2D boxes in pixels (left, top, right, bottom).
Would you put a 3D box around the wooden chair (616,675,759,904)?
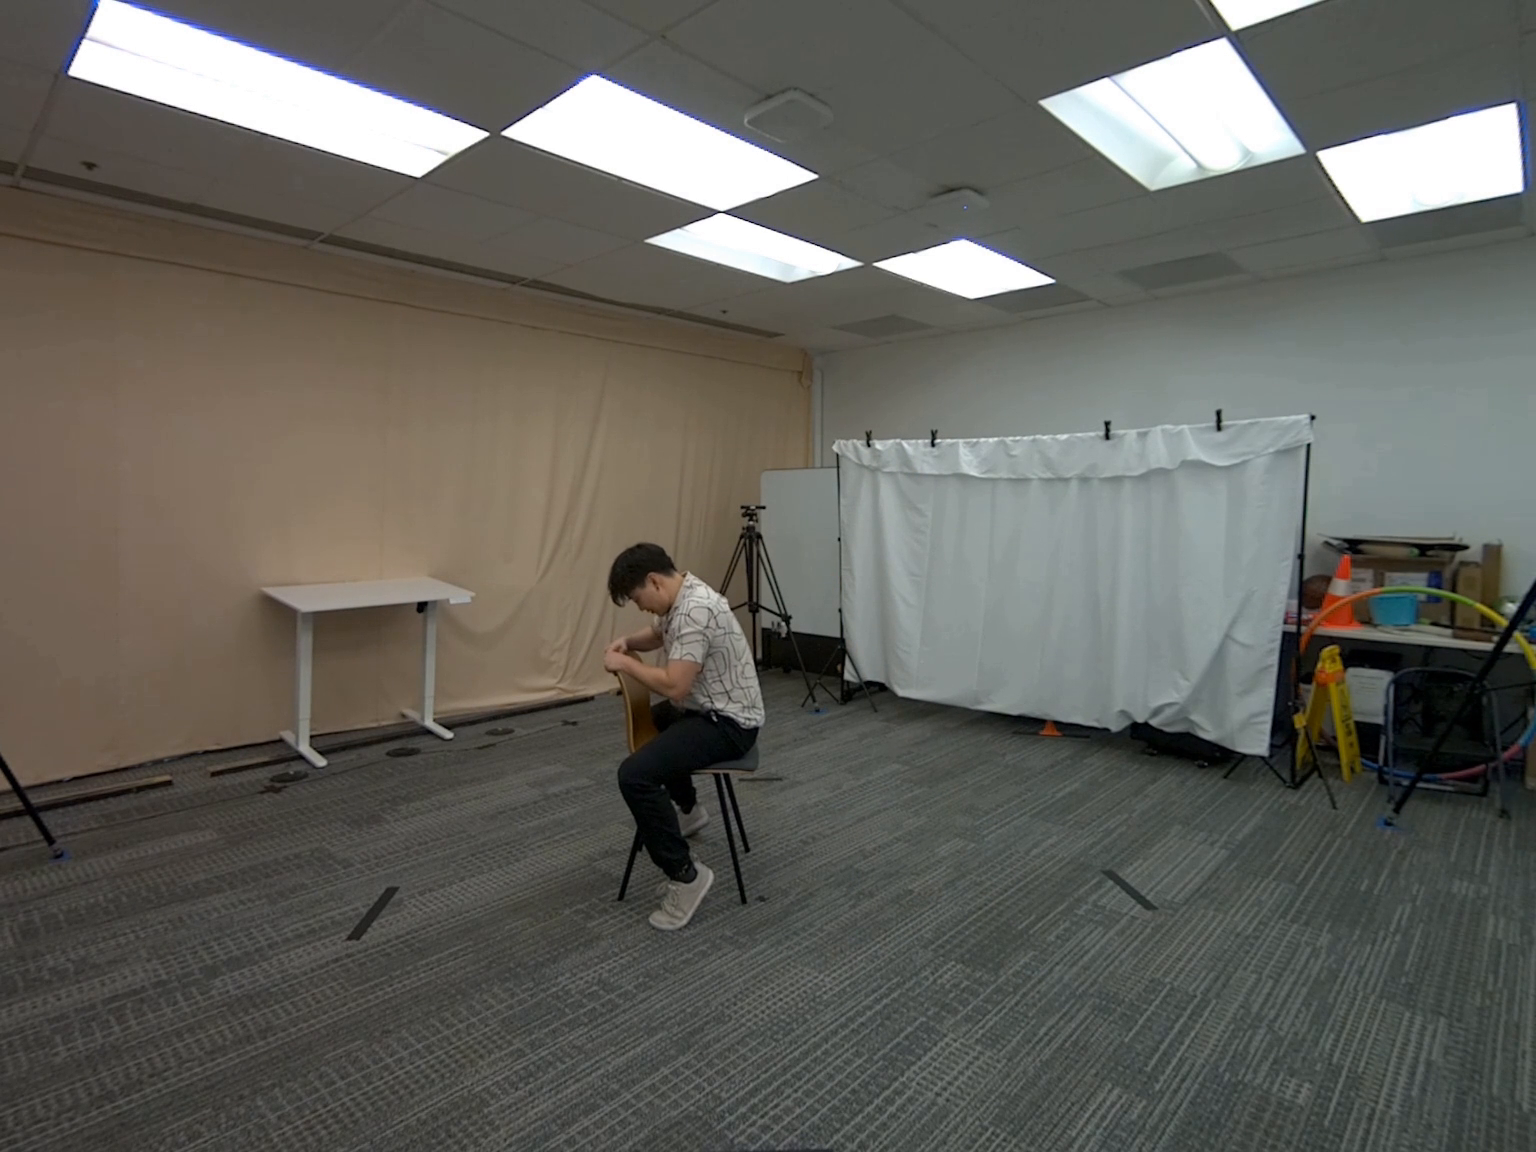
[{"bbox_3d":[-0.292,0.712,3.152,0.524,0.875,0.478,-5,4,2],"label":"wooden chair"}]
